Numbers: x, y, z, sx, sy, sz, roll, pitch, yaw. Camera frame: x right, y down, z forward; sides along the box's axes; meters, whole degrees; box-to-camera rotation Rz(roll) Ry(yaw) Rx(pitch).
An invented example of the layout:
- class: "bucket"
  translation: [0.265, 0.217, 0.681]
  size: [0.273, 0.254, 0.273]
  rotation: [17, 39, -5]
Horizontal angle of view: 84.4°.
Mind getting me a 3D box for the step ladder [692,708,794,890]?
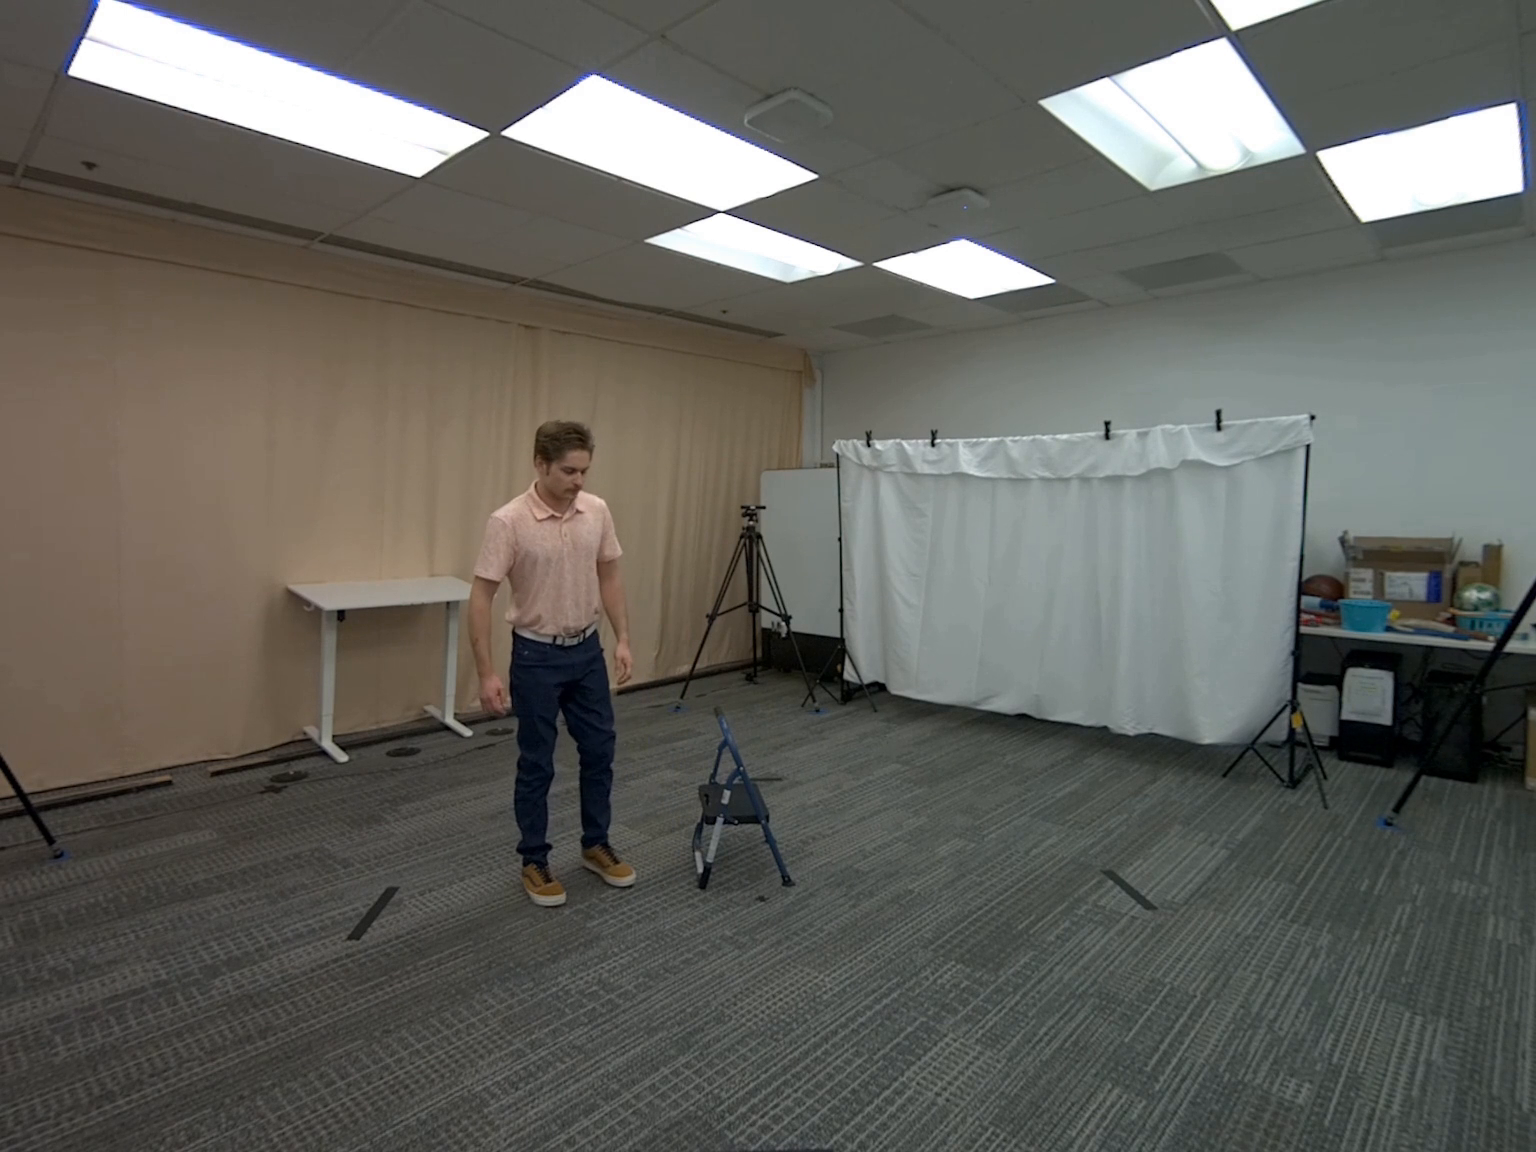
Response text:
- class: "step ladder"
  translation: [-0.117, 0.822, 3.261]
  size: [0.346, 0.605, 0.435]
  rotation: [-1, 3, -8]
